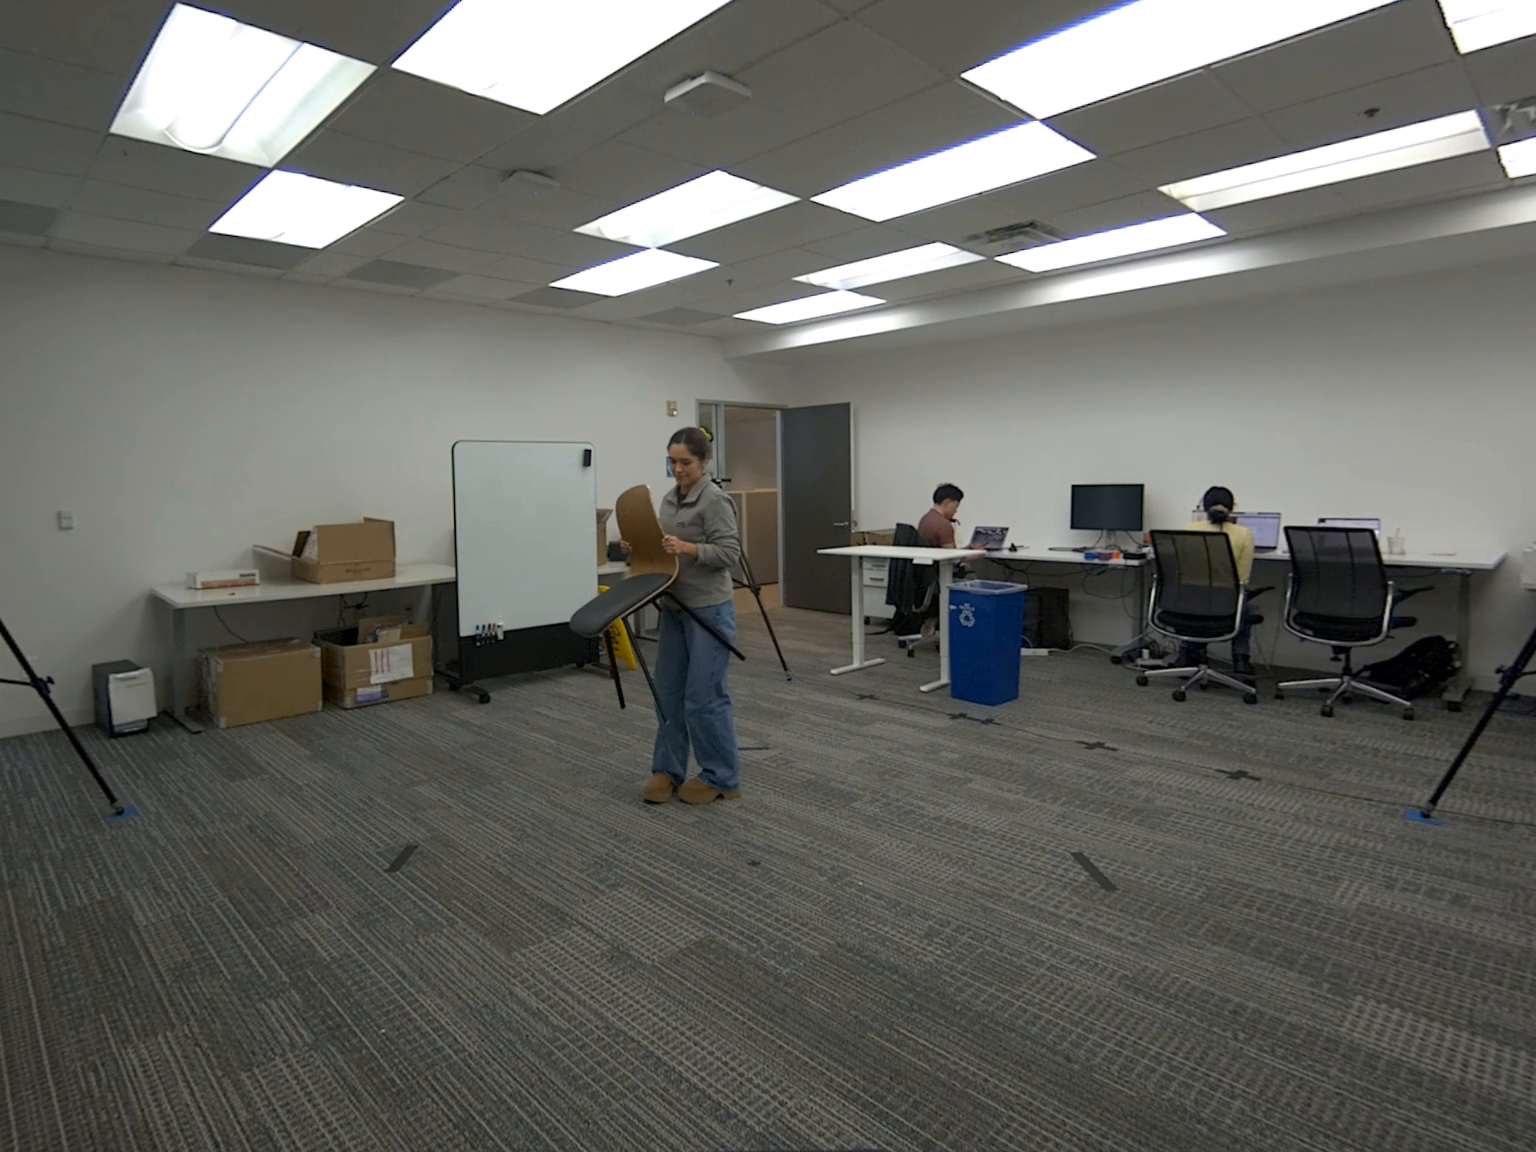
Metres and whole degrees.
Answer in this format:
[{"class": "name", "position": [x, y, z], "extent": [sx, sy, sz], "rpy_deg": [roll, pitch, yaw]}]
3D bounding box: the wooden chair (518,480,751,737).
[{"class": "wooden chair", "position": [-0.567, 0.117, 3.629], "extent": [0.518, 0.865, 0.490], "rpy_deg": [-30, 14, -29]}]
